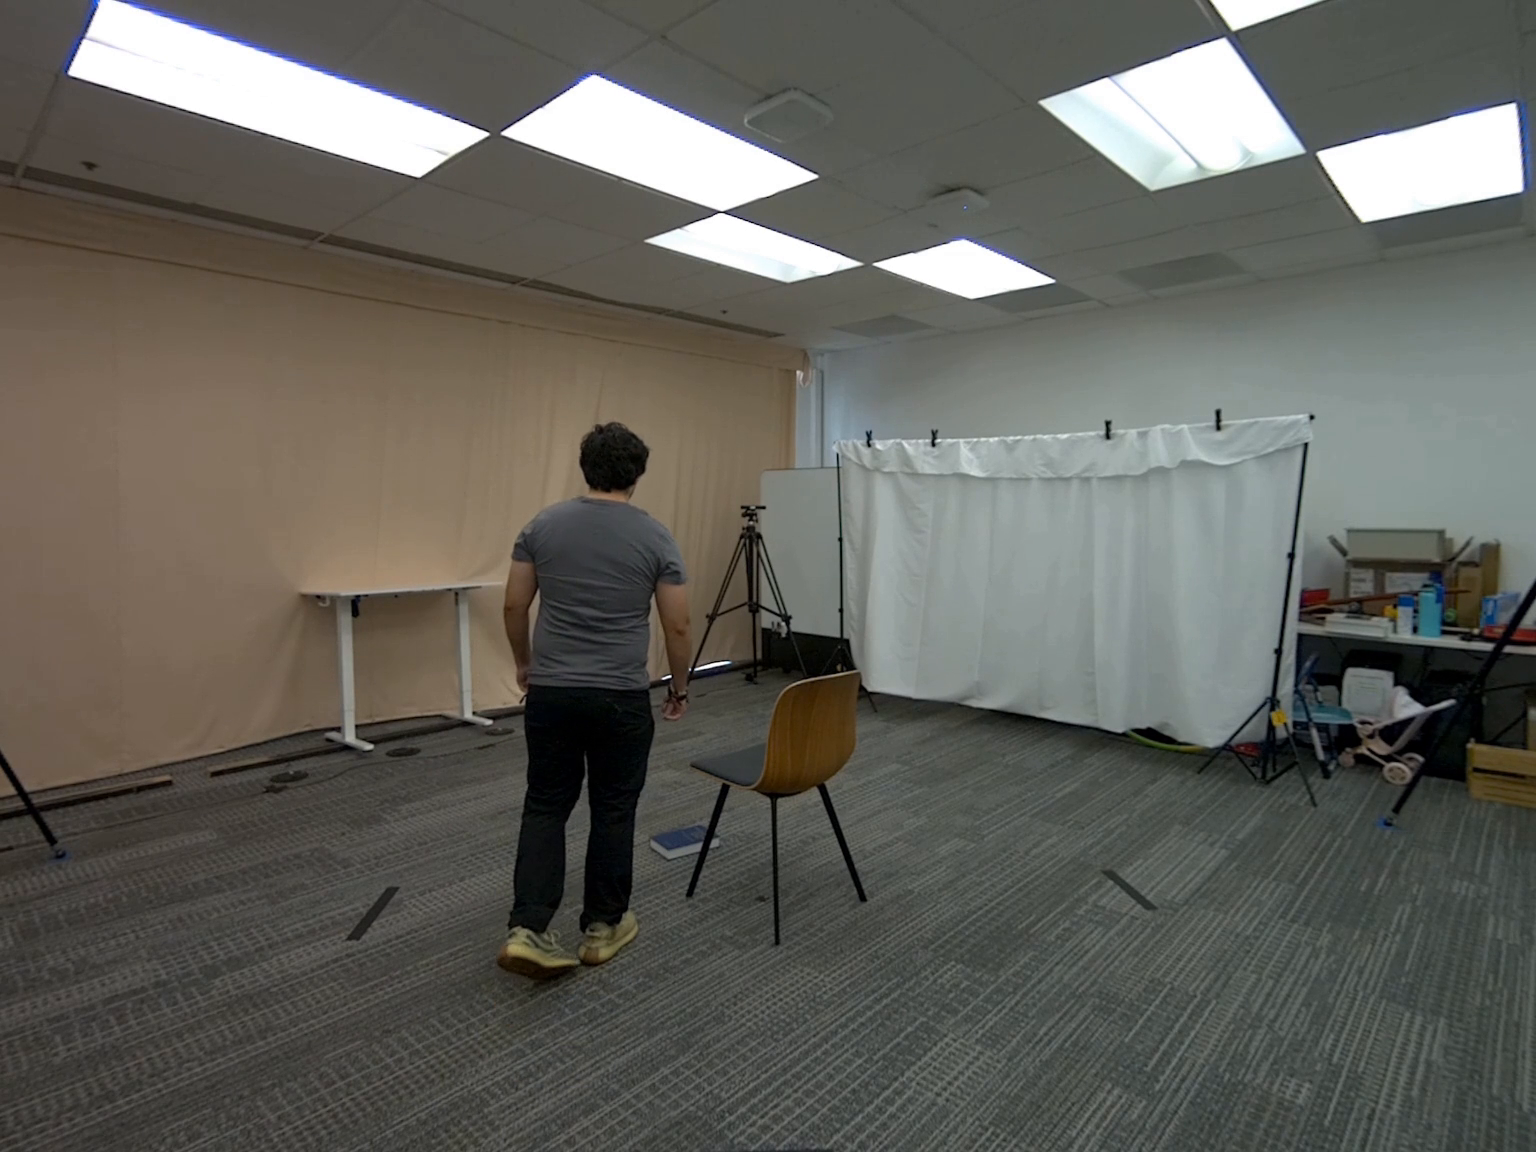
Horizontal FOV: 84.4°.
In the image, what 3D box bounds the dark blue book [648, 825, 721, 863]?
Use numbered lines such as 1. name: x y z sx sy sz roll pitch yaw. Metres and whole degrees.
1. dark blue book: -0.341 1.083 3.433 0.238 0.045 0.168 -3 5 -34
